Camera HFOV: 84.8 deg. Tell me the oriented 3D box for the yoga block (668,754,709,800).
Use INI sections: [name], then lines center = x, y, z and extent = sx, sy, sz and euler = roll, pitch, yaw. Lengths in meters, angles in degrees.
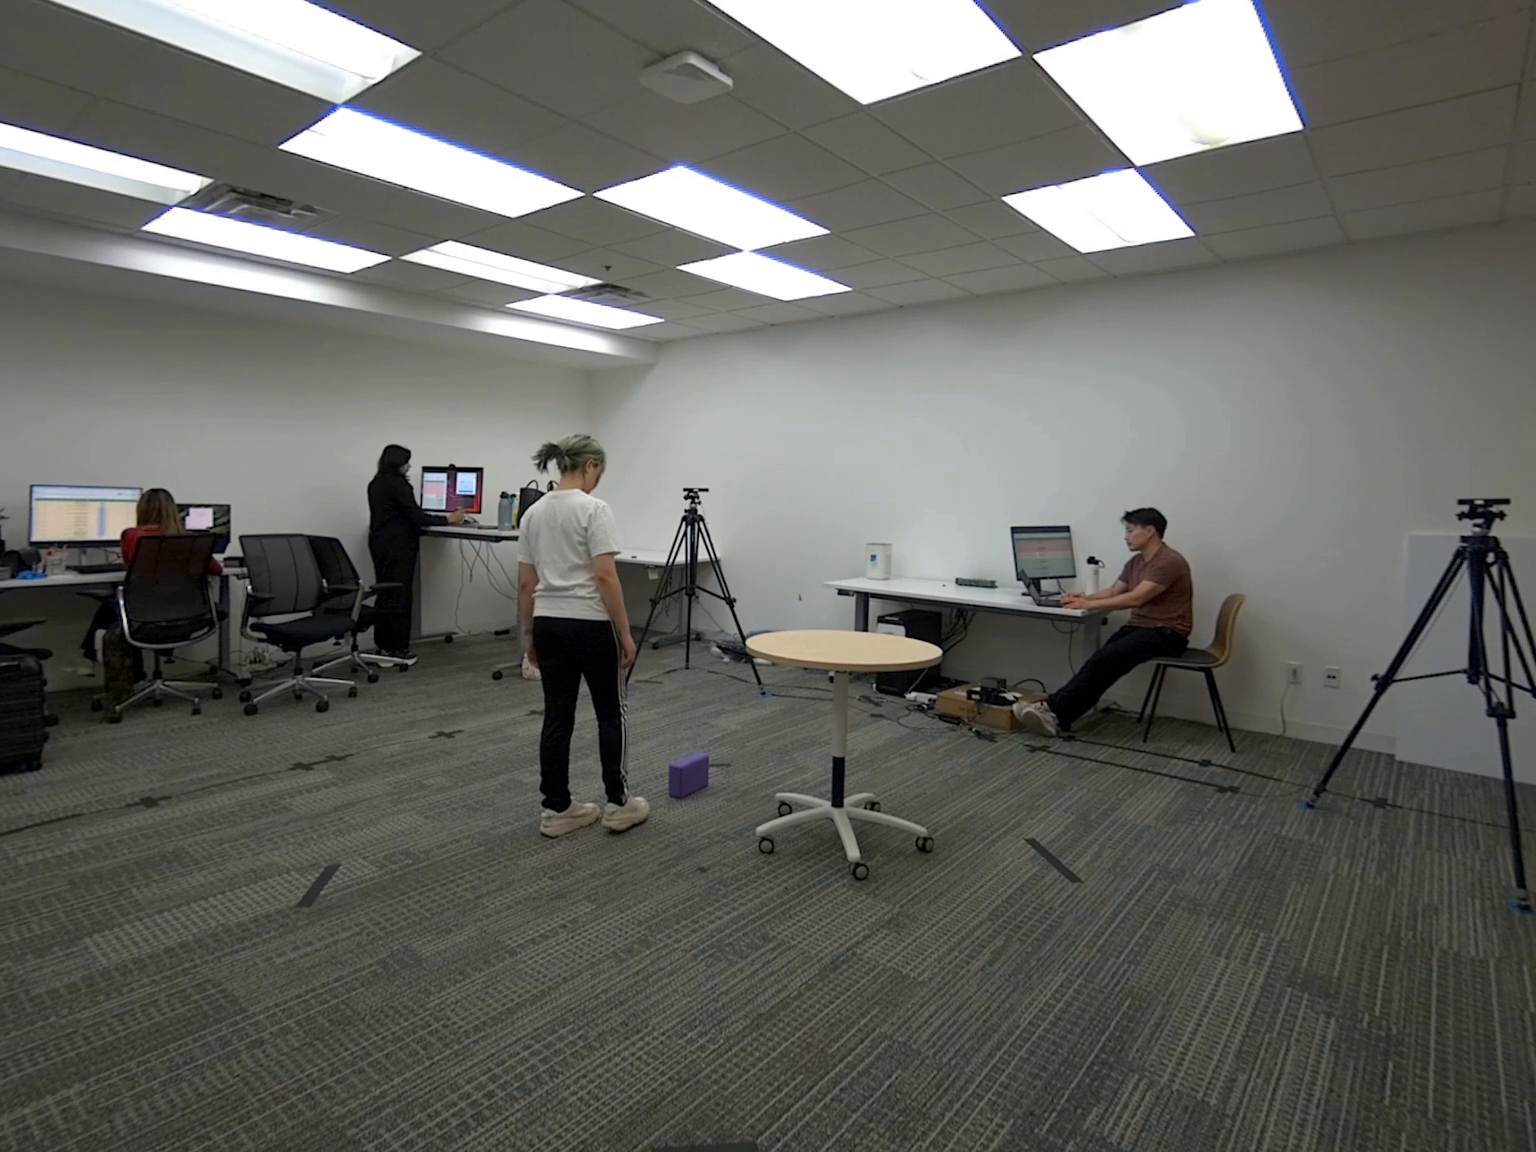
[yoga block]
center = -0.375, 0.913, 3.923
extent = 0.079, 0.148, 0.223
euler = 3, 4, 32
